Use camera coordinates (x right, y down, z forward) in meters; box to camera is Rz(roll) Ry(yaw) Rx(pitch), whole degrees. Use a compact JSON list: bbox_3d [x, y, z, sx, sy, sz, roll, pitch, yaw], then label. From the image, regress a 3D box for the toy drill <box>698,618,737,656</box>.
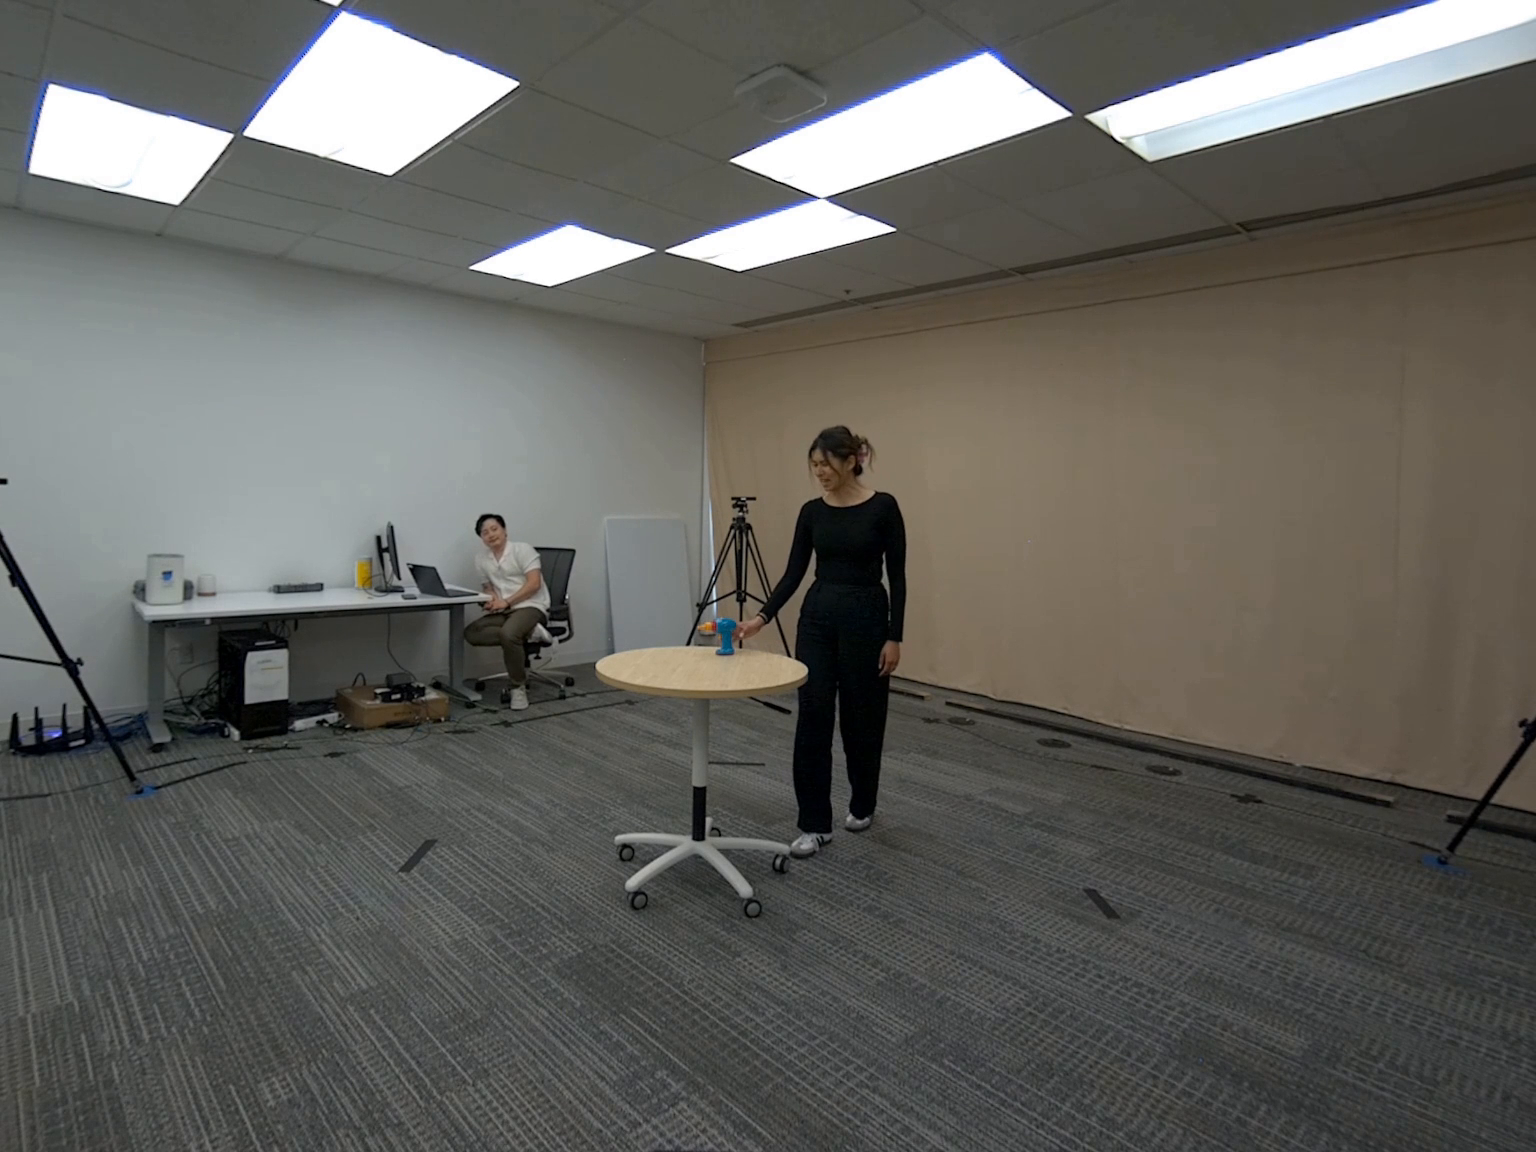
[{"bbox_3d":[-0.203,0.233,3.248,0.166,0.146,0.062,1,1,-26],"label":"toy drill"}]
